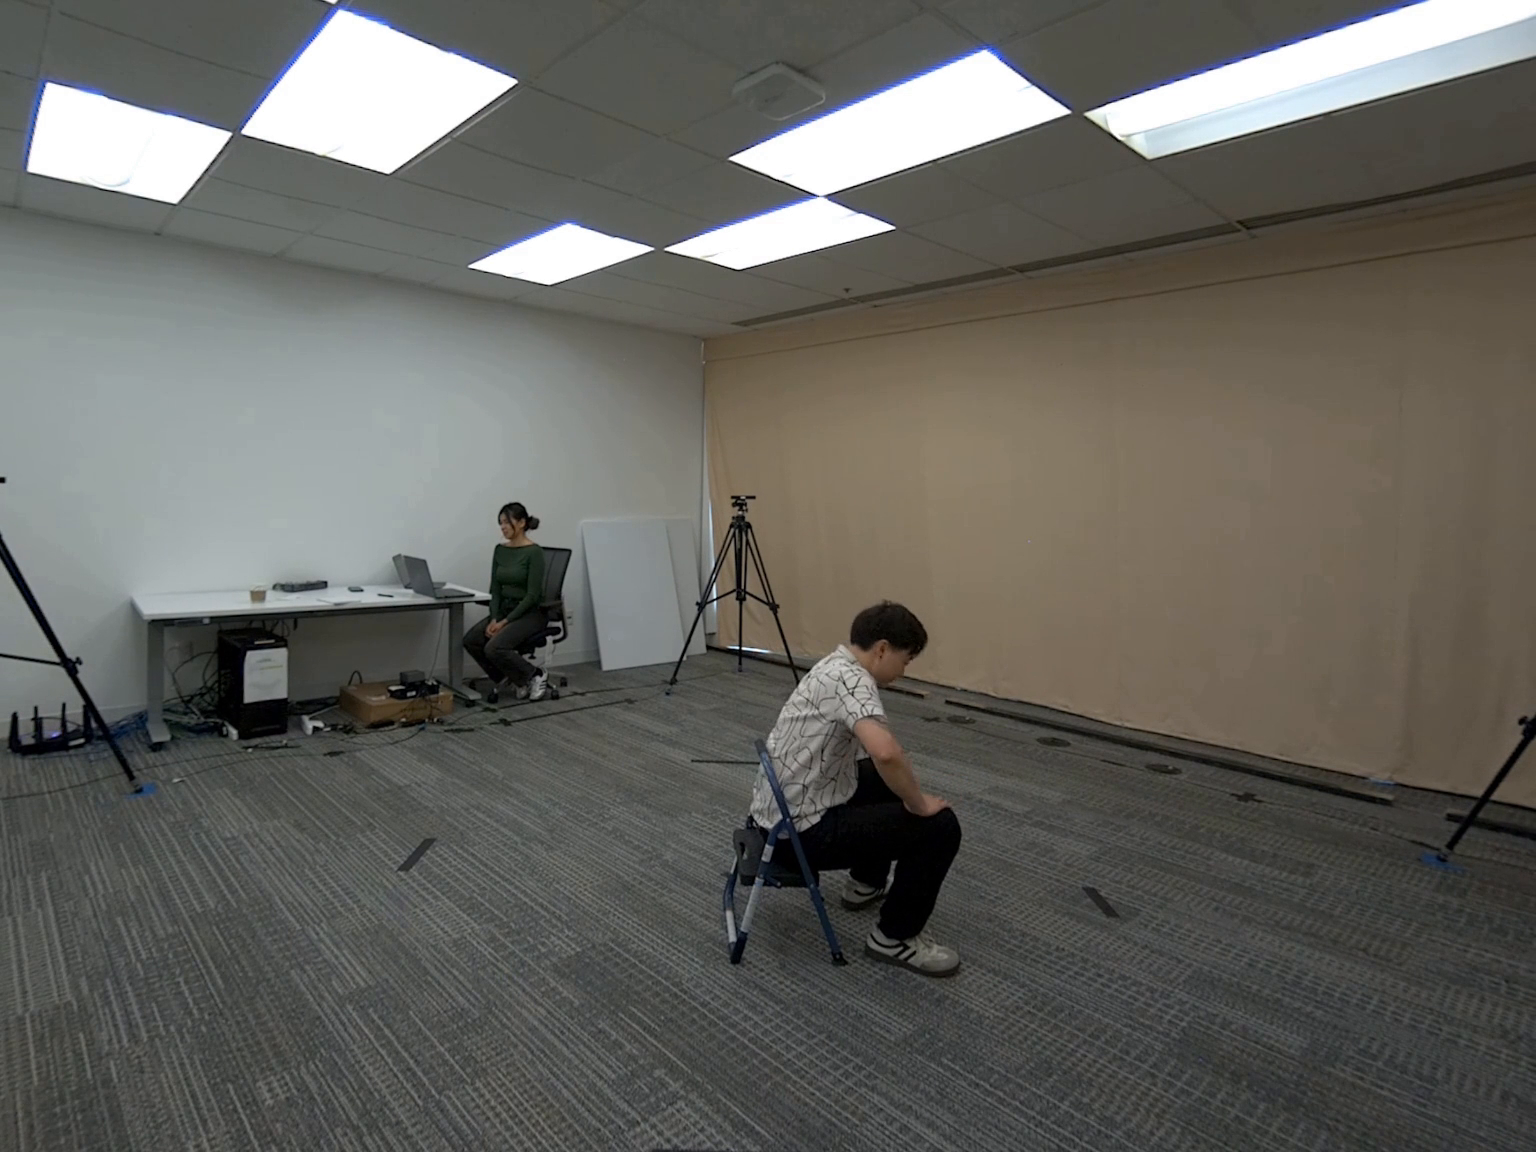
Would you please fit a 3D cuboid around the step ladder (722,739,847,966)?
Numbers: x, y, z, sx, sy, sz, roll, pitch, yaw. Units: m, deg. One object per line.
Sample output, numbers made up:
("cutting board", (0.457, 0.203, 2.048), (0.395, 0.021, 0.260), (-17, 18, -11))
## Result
("step ladder", (0.040, 0.843, 2.701), (0.347, 0.604, 0.434), (1, 4, -7))
